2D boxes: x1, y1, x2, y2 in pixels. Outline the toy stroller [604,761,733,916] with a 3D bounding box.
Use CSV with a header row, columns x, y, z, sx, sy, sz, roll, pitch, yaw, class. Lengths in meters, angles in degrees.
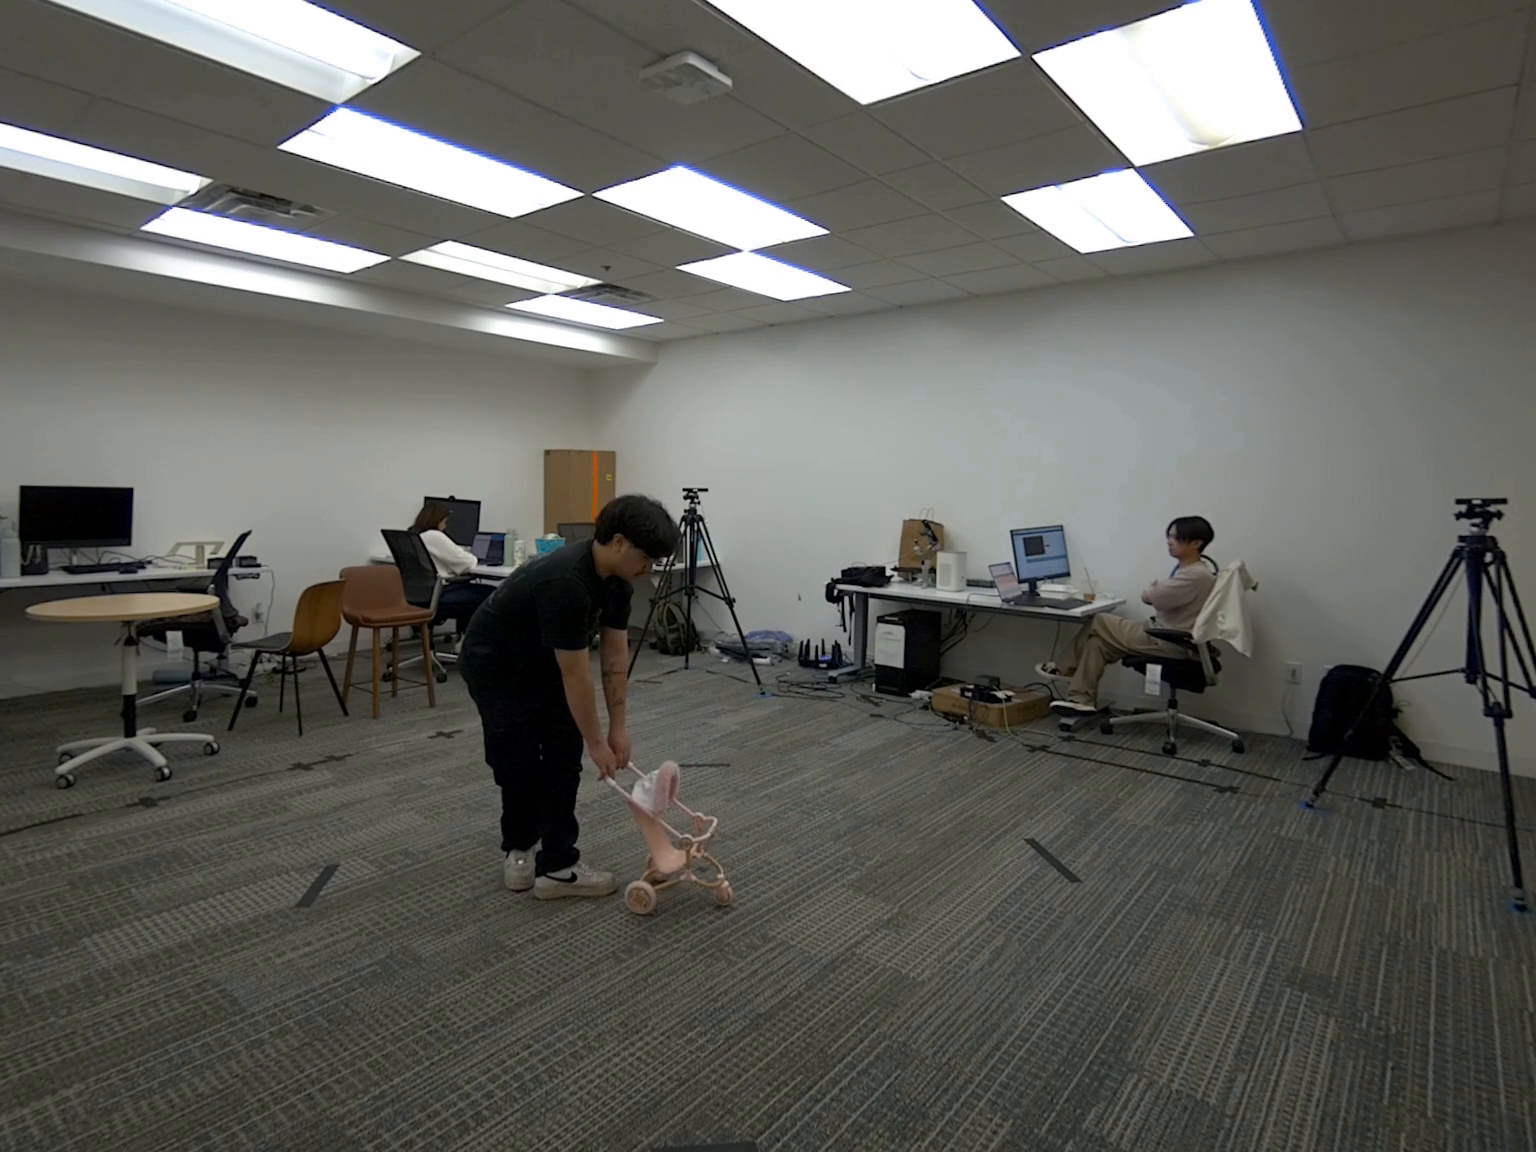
x,y,z,sx,sy,sz,roll,pitch,yaw,class
-0.334,0.868,2.858,0.346,0.535,0.278,-13,0,15,toy stroller
